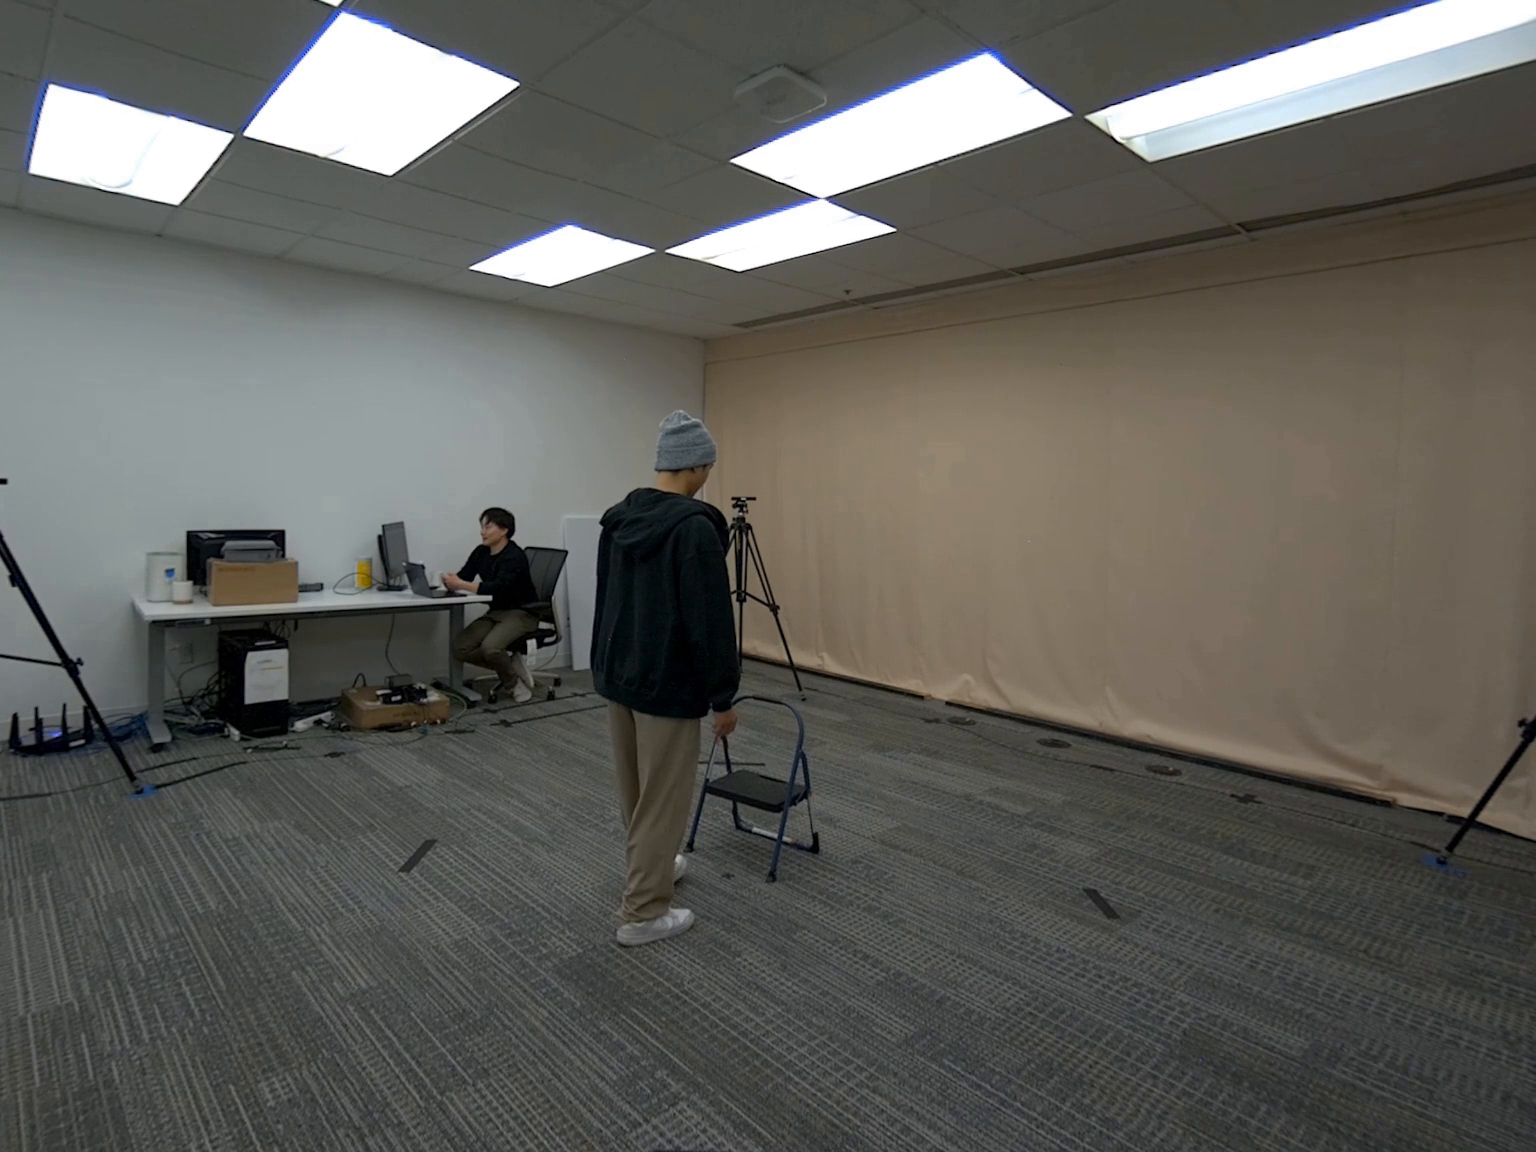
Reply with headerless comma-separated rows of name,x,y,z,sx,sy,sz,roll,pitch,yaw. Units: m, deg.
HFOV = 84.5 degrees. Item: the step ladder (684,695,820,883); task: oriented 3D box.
step ladder,-0.056,0.789,3.306,0.441,0.604,0.342,4,4,36
